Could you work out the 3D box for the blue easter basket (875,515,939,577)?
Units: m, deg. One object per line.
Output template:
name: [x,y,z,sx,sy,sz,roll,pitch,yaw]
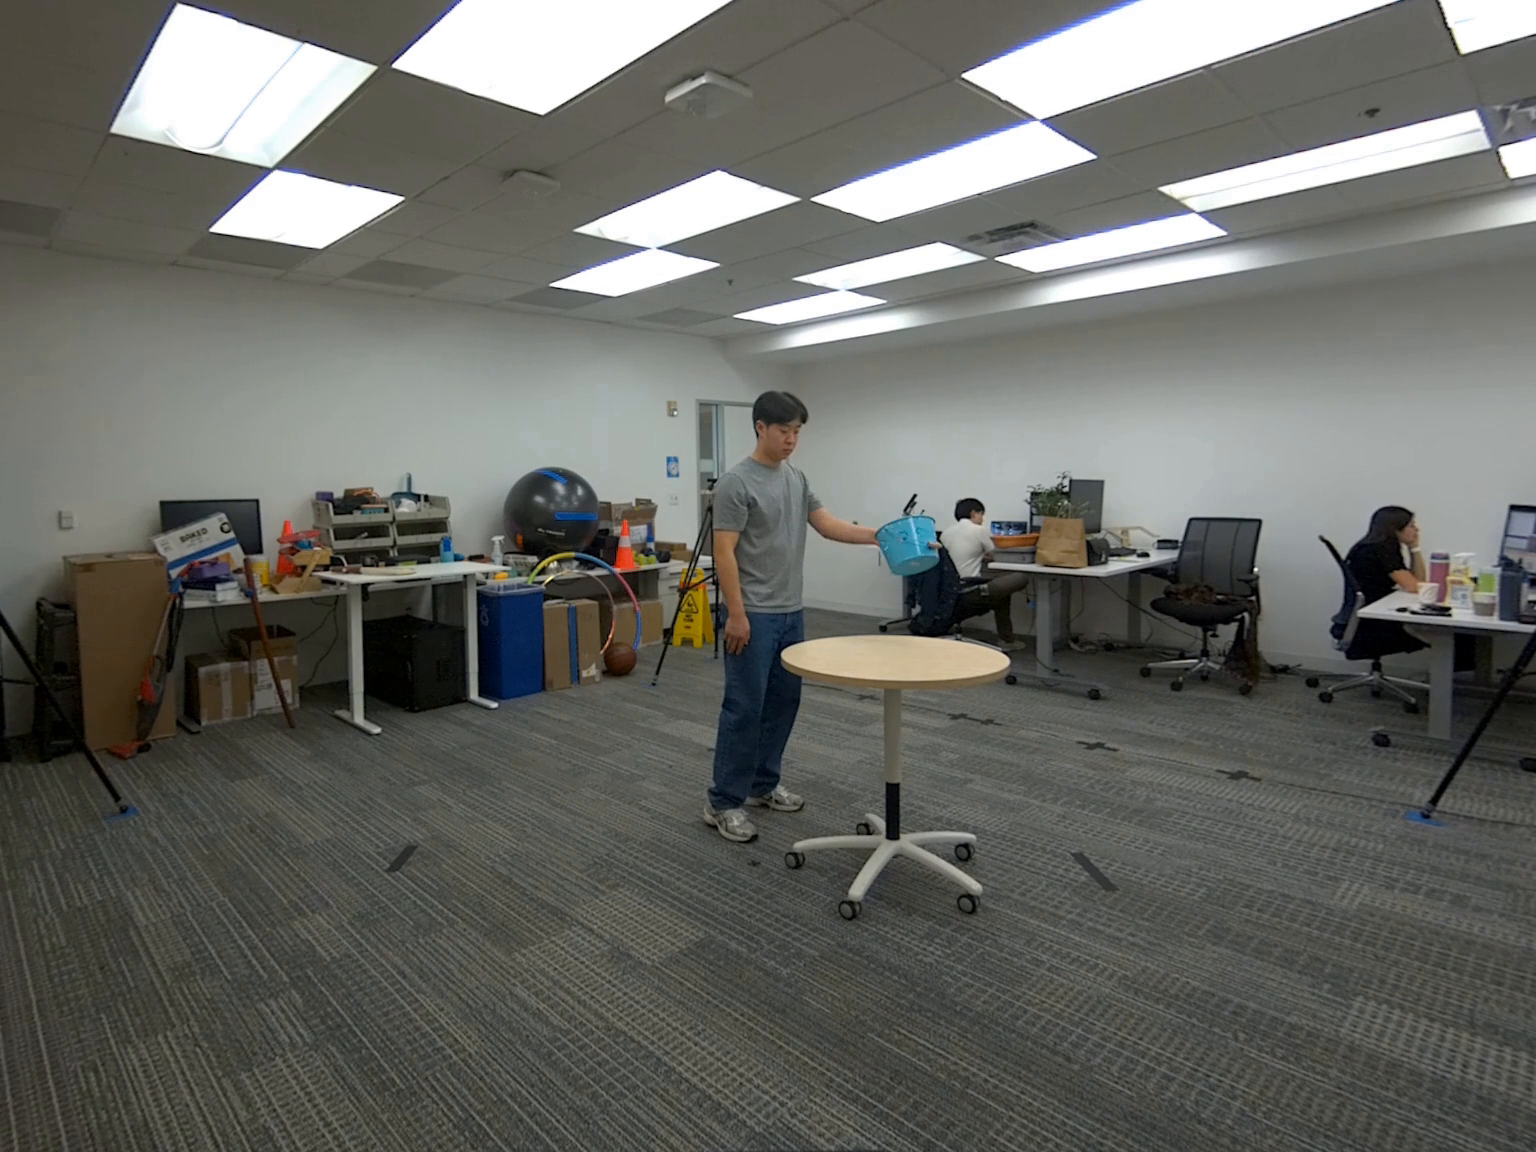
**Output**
blue easter basket: [0.529,-0.099,3.220,0.242,0.159,0.239,-9,-22,-5]
